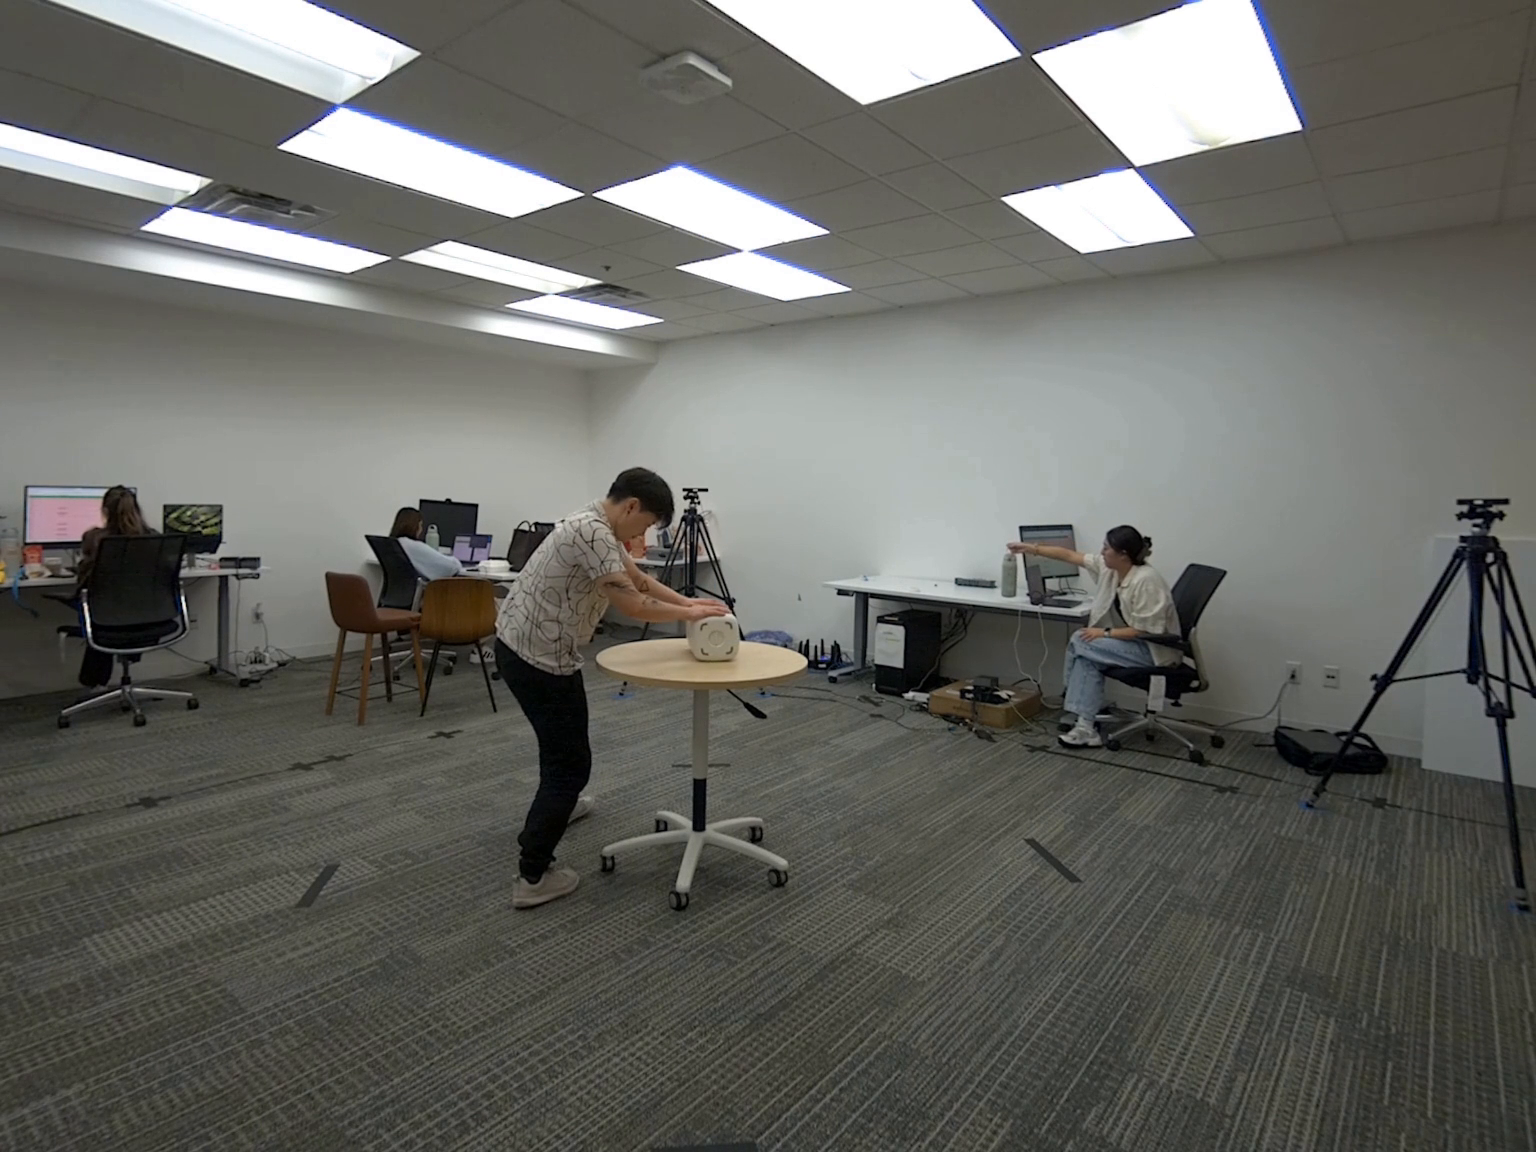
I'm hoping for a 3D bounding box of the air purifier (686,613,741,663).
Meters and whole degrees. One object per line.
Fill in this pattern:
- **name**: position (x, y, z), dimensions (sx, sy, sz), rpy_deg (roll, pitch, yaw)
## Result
- **air purifier**: position (-0.217, 0.201, 3.128), dimensions (0.170, 0.170, 0.269), rpy_deg (-1, 8, -8)
